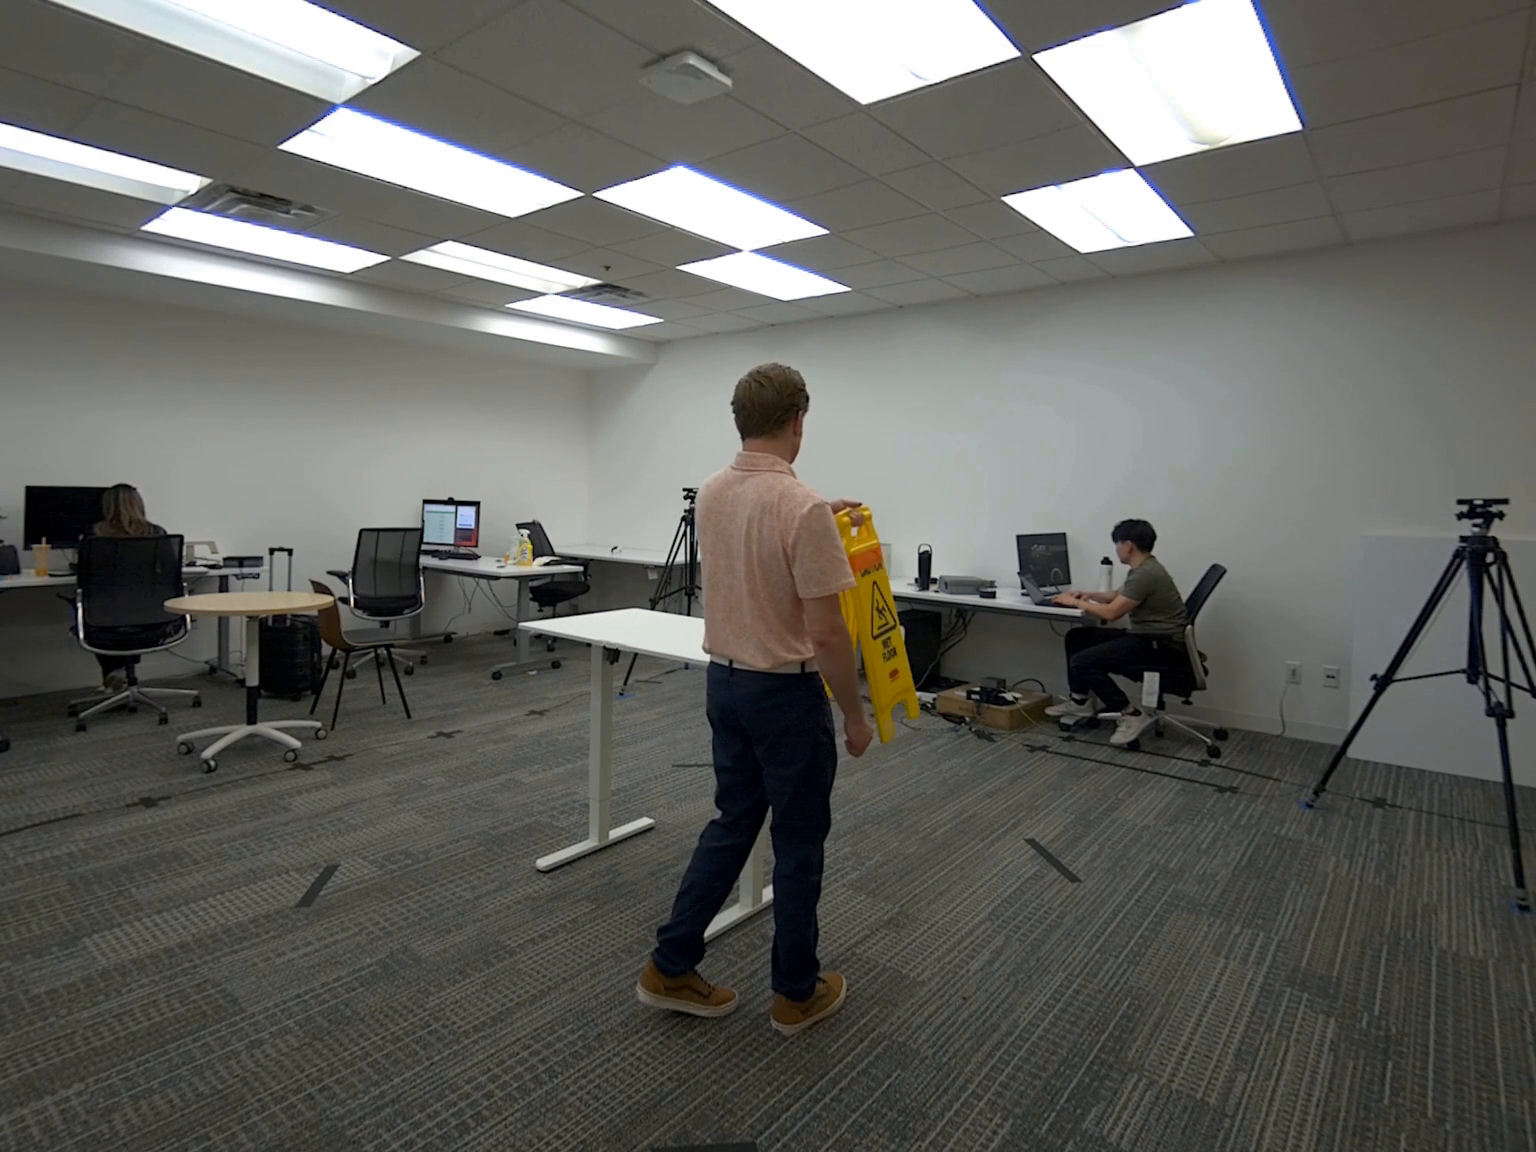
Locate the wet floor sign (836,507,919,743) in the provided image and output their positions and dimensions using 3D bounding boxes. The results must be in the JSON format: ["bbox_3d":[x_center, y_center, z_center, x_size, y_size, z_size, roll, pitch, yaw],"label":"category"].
[{"bbox_3d":[0.264,0.115,2.525,0.298,0.640,0.276,2,10,33],"label":"wet floor sign"}]
